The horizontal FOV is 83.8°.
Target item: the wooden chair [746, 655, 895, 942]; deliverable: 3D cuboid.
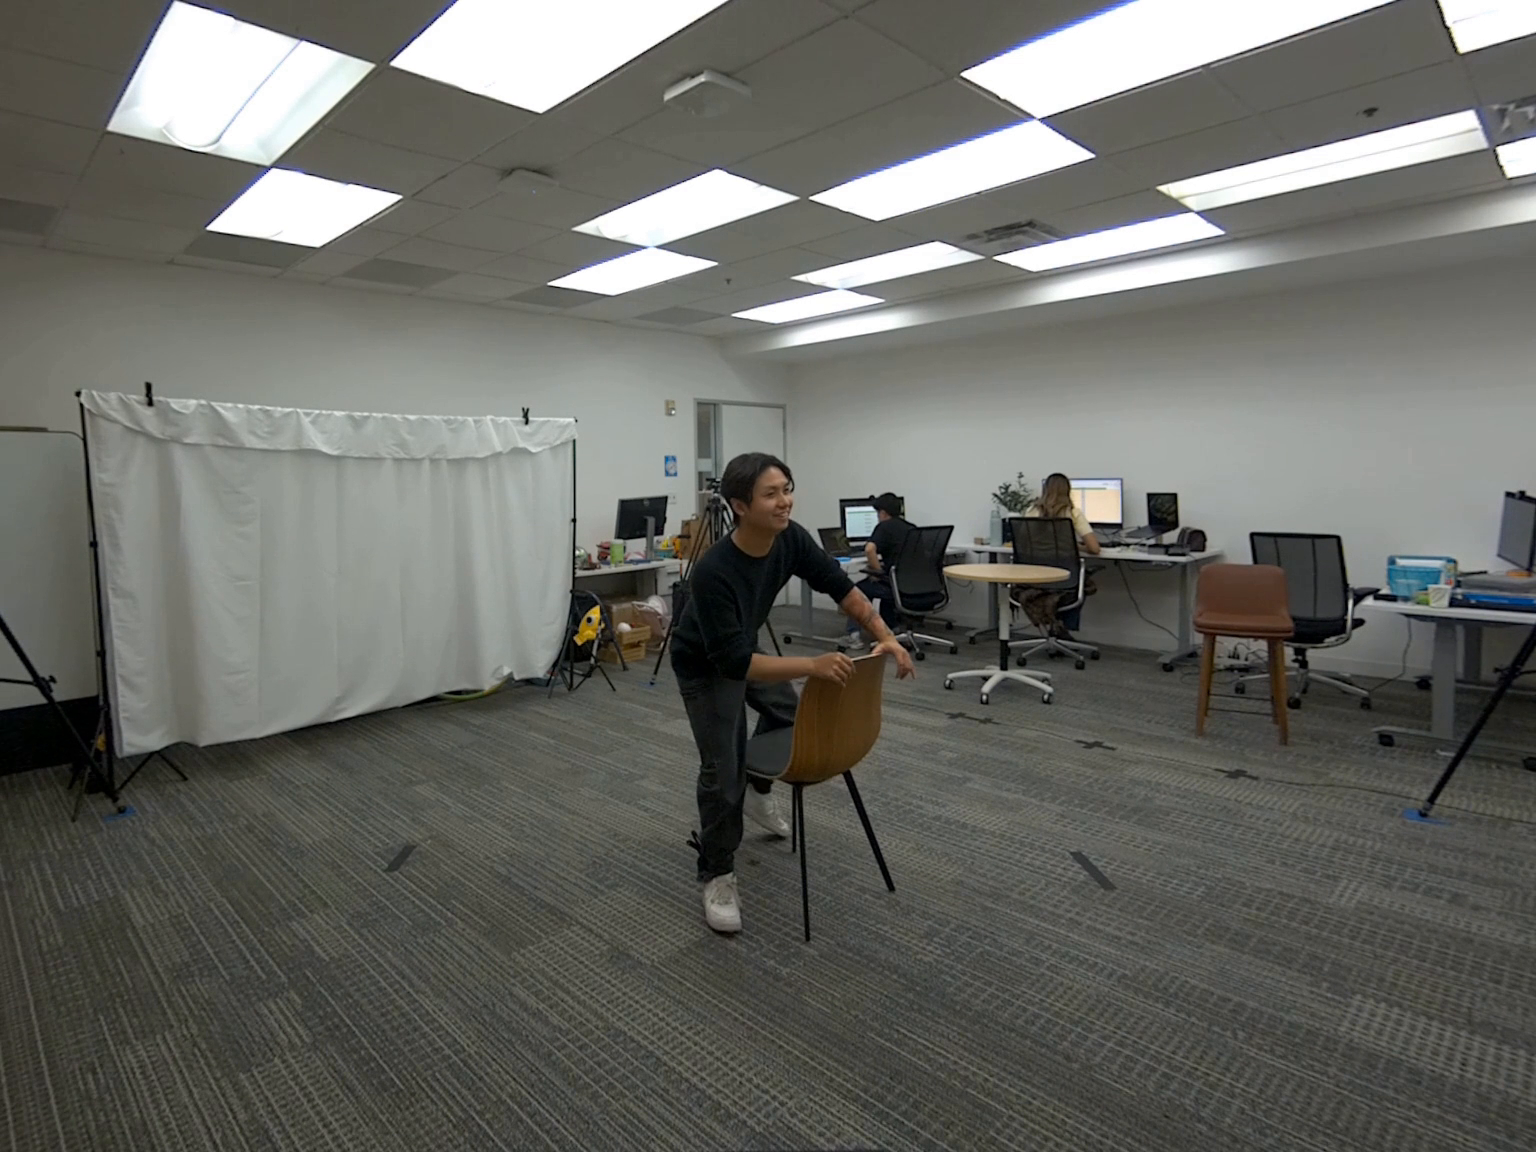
[{"bbox_3d":[0.098,0.638,2.857,0.466,0.871,0.540,-7,11,-44],"label":"wooden chair"}]
